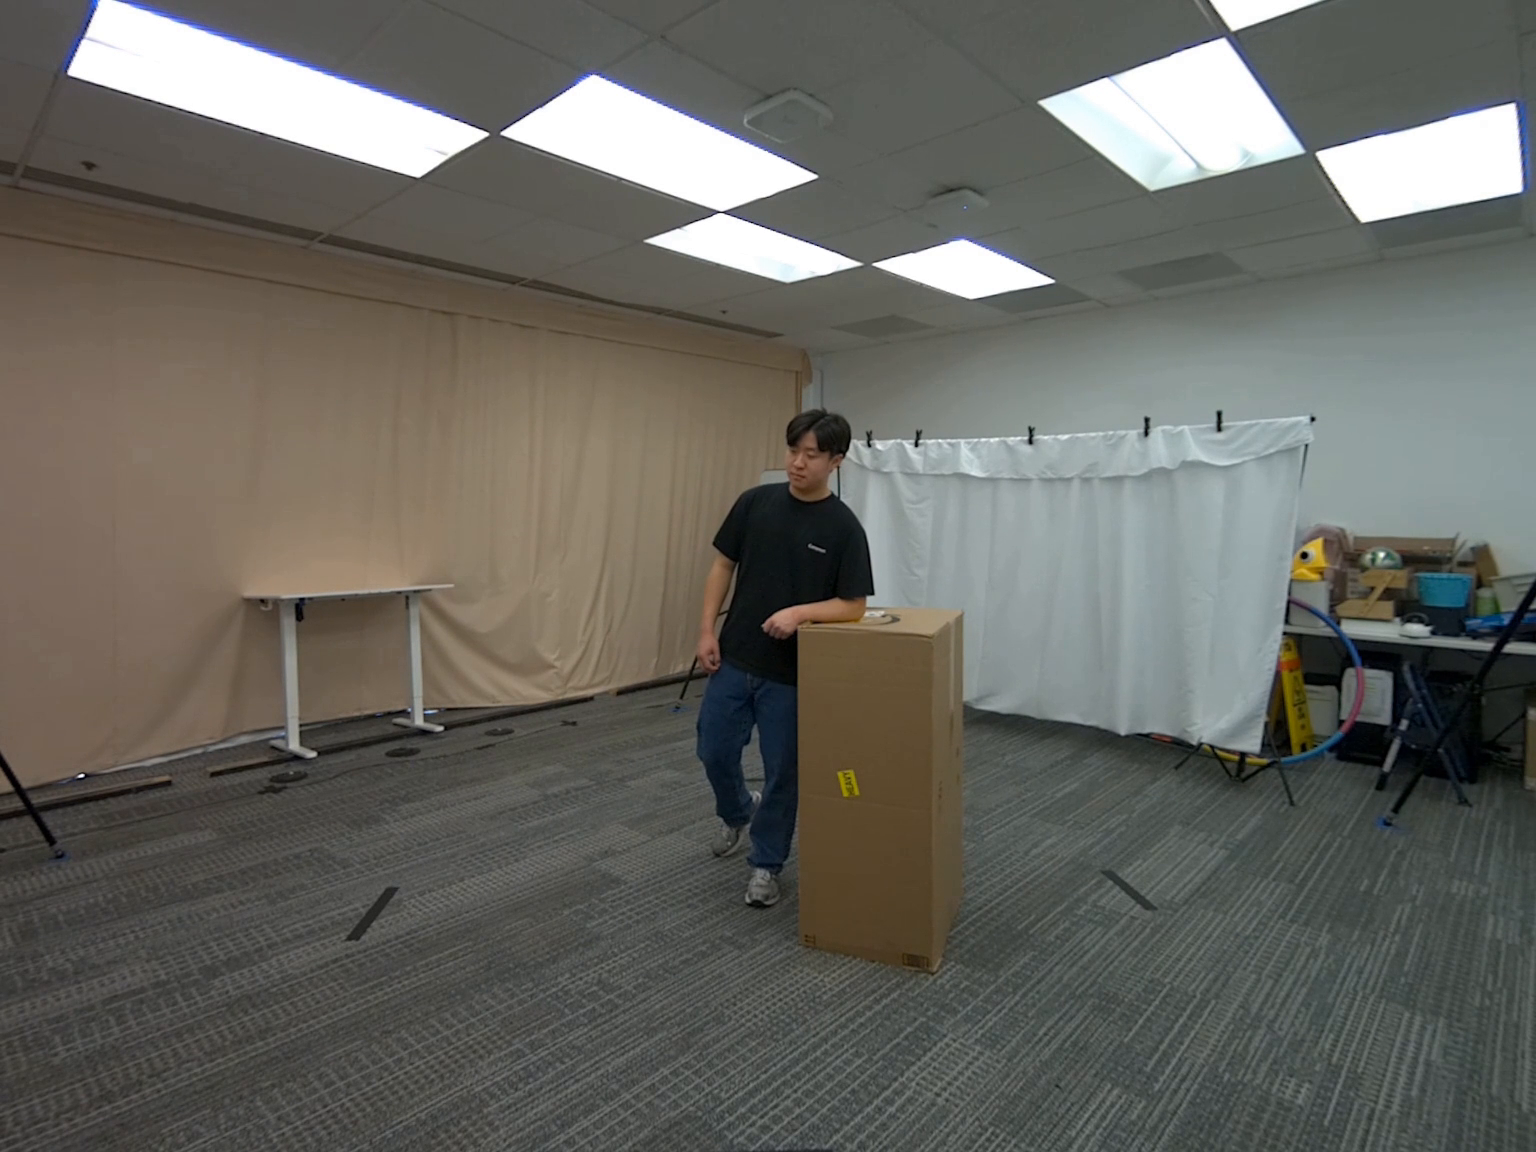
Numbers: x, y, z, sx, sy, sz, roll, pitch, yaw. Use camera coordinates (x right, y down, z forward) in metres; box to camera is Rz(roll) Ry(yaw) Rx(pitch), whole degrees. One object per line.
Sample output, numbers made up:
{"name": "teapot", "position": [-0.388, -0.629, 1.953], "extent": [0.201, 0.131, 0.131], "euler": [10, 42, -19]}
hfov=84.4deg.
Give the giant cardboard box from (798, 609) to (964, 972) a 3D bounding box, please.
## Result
{"name": "giant cardboard box", "position": [0.400, 0.645, 2.811], "extent": [0.458, 1.025, 0.571], "euler": [0, 4, 24]}
